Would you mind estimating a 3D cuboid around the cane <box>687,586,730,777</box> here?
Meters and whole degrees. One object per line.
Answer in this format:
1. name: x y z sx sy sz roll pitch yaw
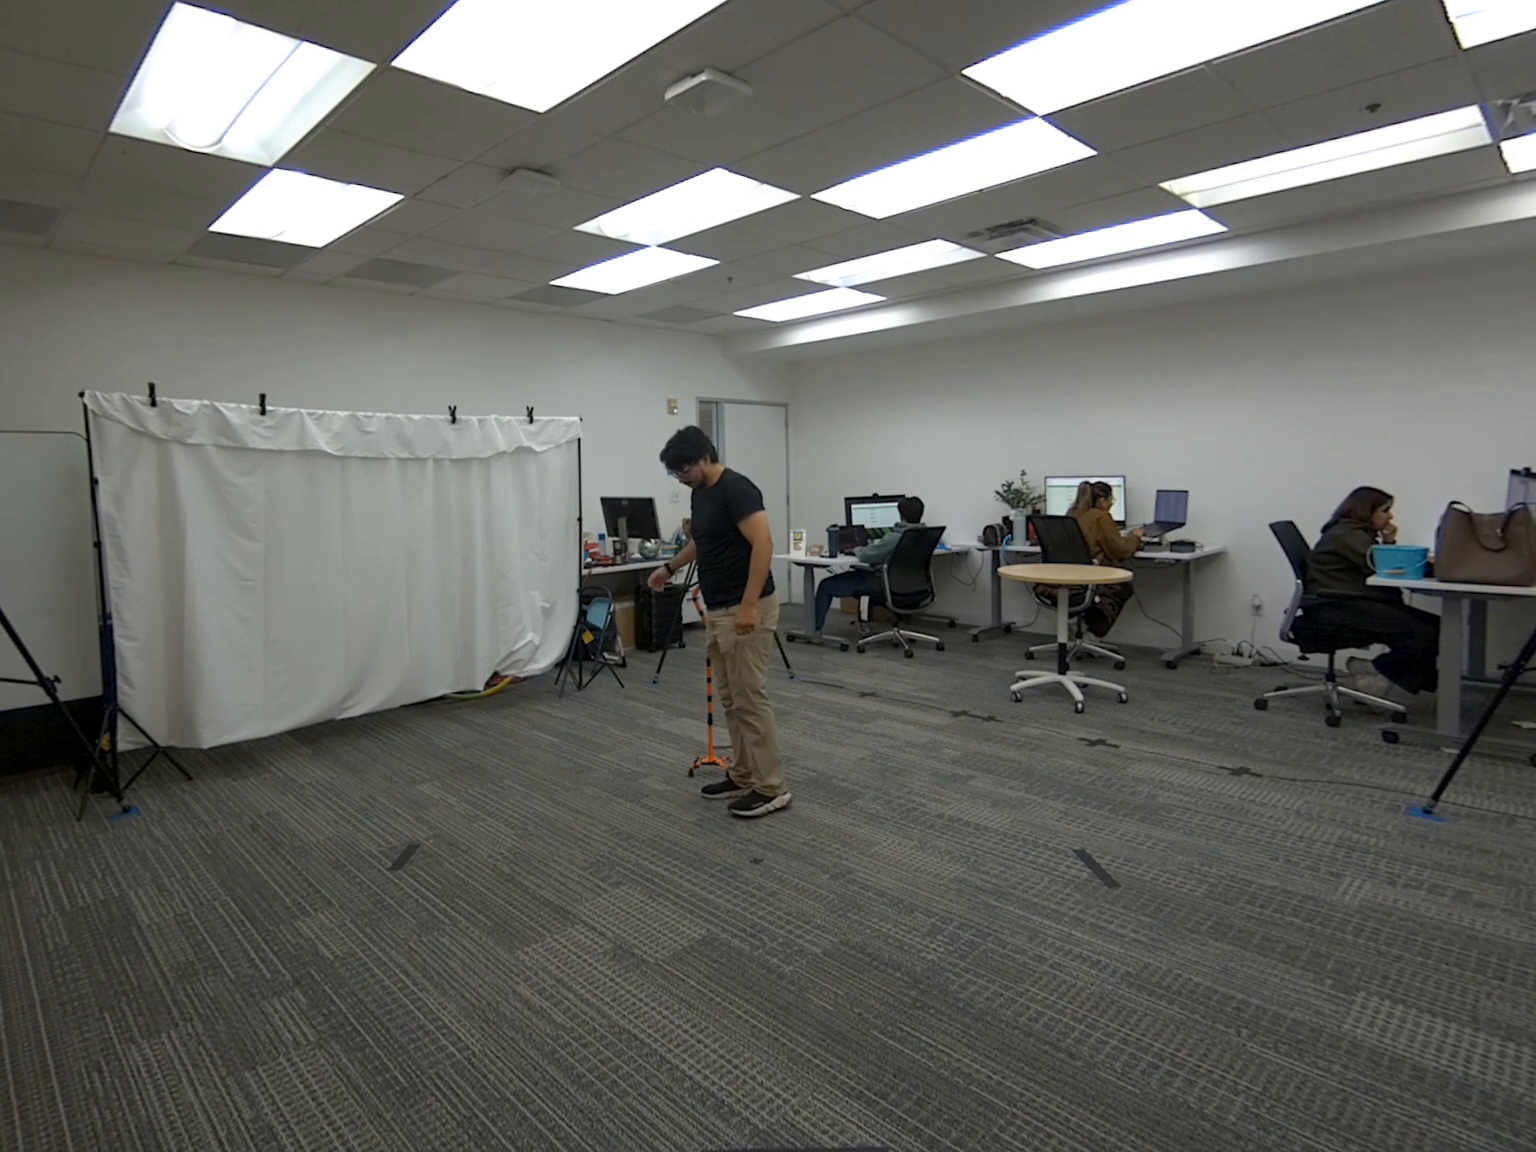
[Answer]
1. cane: -0.277 0.484 4.042 0.208 0.905 0.151 -1 3 6
